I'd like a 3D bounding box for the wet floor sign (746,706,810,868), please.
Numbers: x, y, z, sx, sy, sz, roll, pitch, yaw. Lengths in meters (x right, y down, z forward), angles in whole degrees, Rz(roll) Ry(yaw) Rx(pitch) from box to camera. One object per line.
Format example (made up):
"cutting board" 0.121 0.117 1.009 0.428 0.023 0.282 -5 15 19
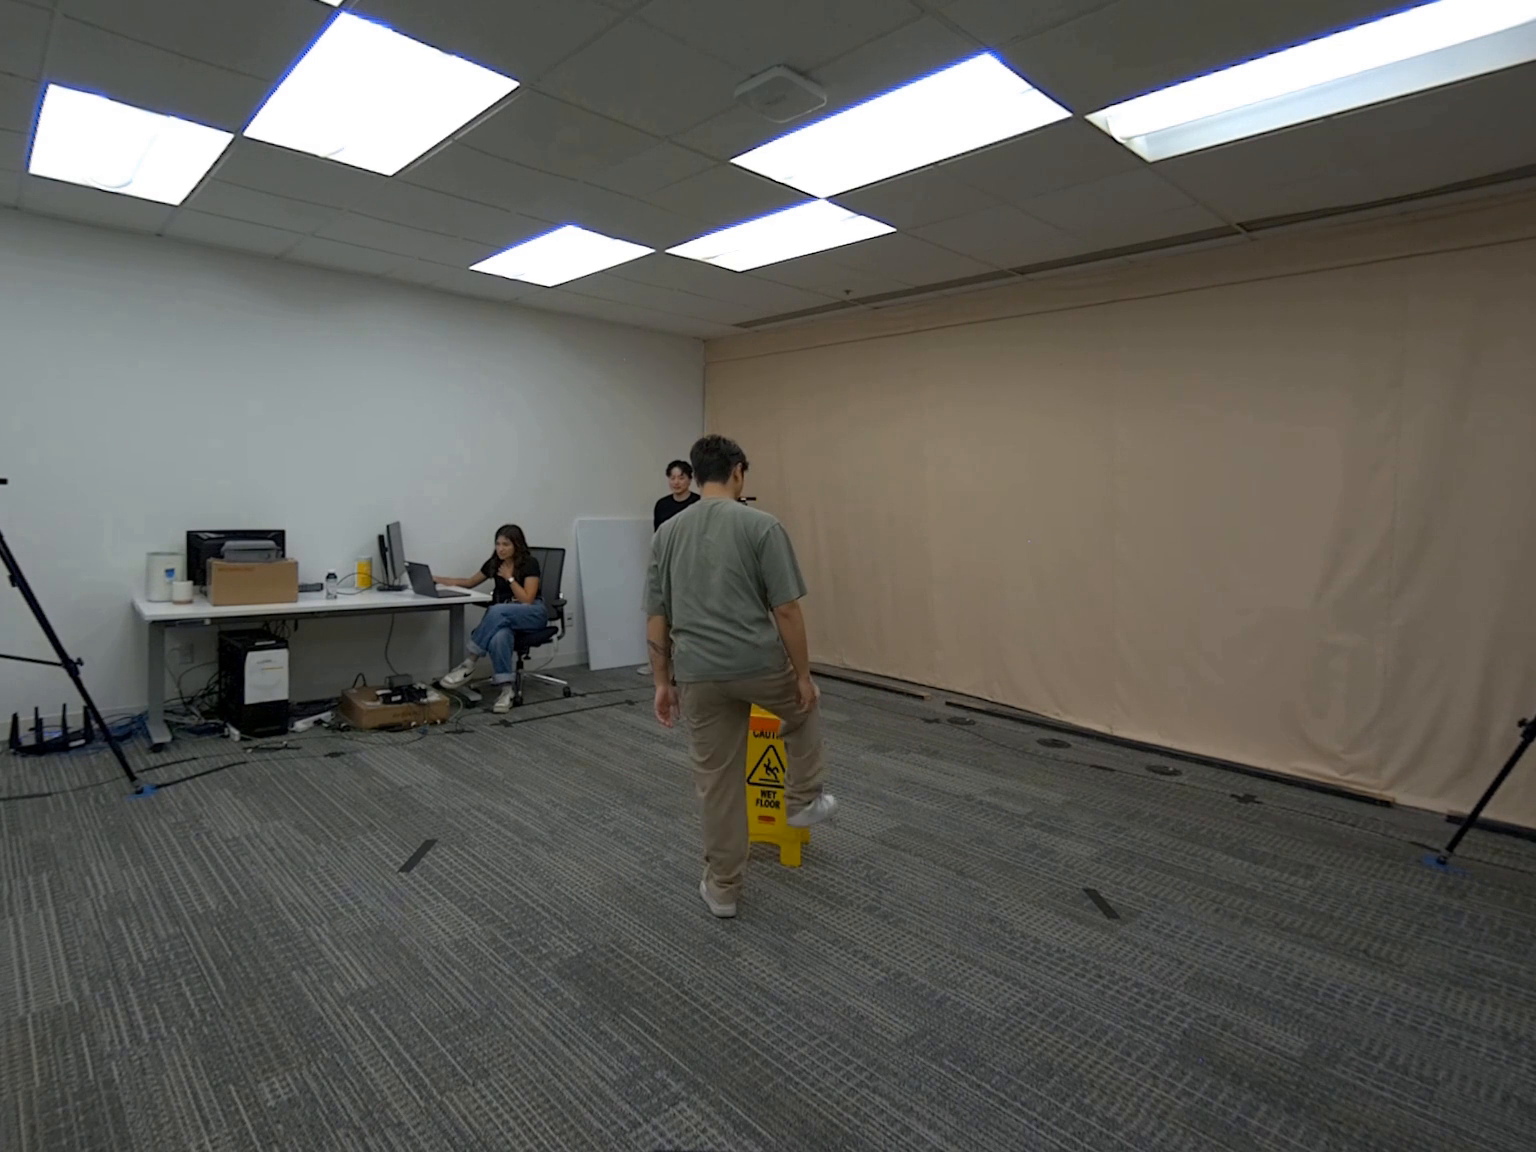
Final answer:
"wet floor sign" 0.003 0.768 3.338 0.285 0.645 0.287 3 2 12
